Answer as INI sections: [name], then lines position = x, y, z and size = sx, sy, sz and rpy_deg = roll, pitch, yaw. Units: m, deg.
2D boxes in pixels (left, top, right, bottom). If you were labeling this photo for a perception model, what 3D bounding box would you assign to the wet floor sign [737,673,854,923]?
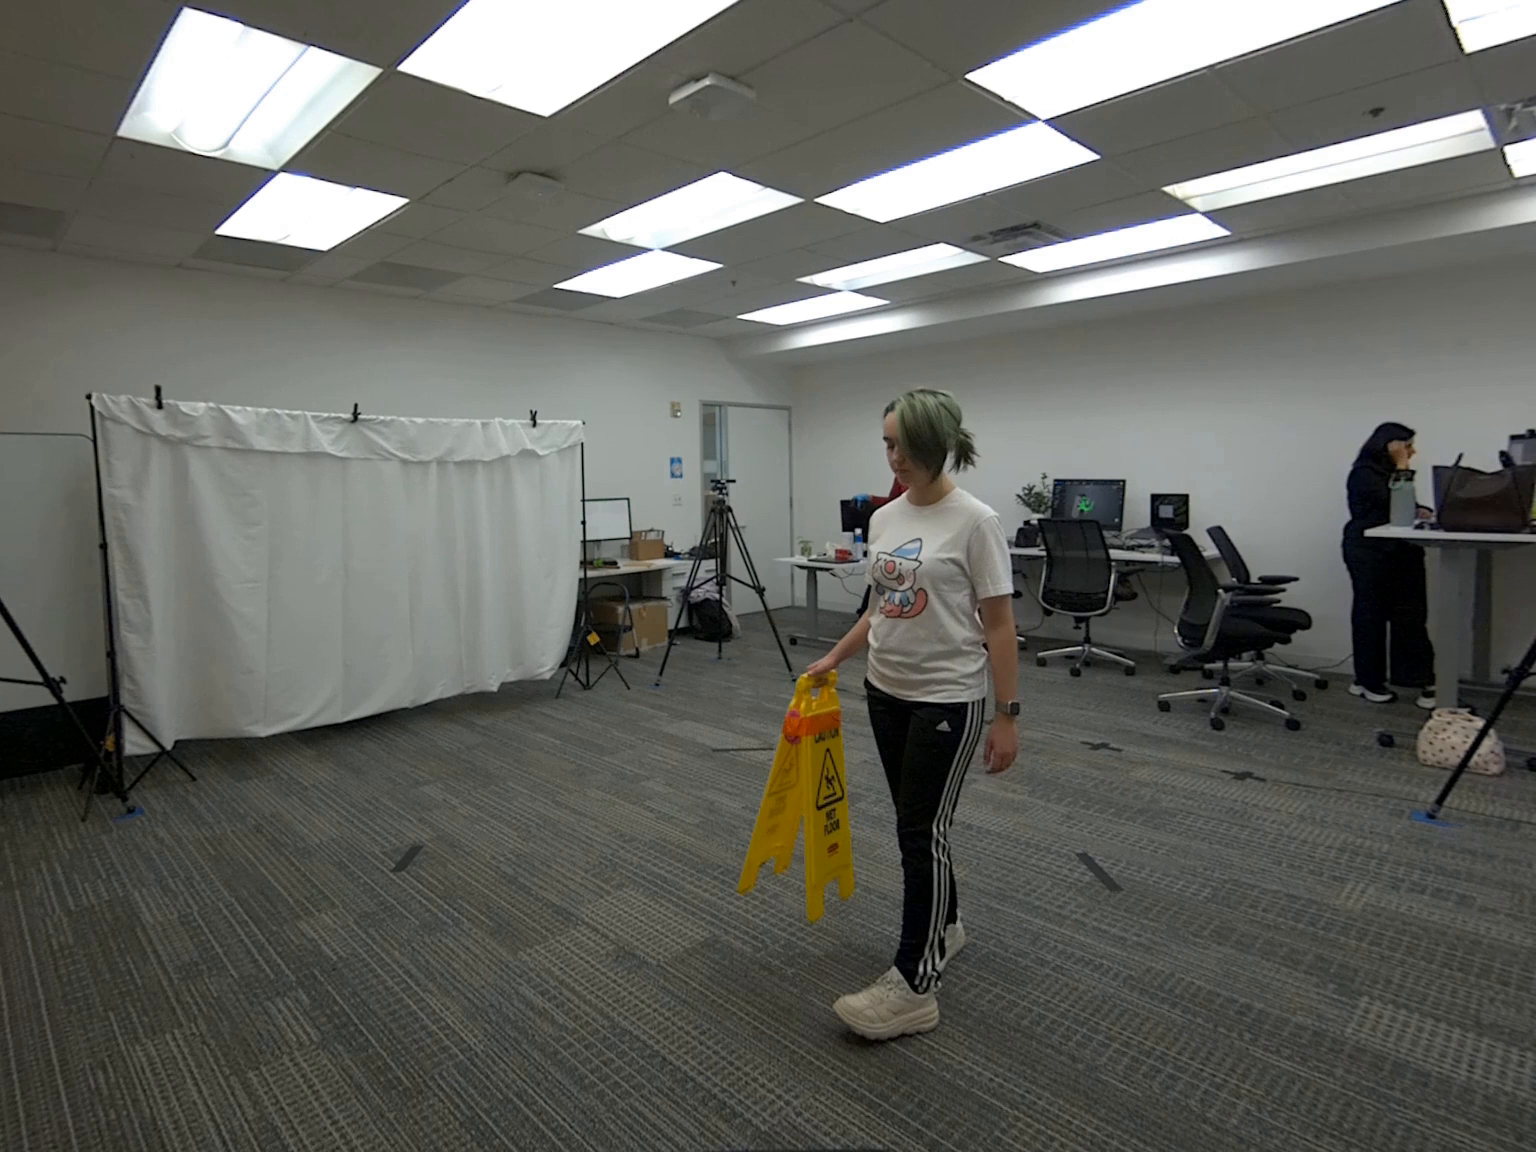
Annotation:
[wet floor sign]
position = 0.117, 0.601, 2.484
size = 0.298, 0.647, 0.274
rpy_deg = 4, -1, 32
